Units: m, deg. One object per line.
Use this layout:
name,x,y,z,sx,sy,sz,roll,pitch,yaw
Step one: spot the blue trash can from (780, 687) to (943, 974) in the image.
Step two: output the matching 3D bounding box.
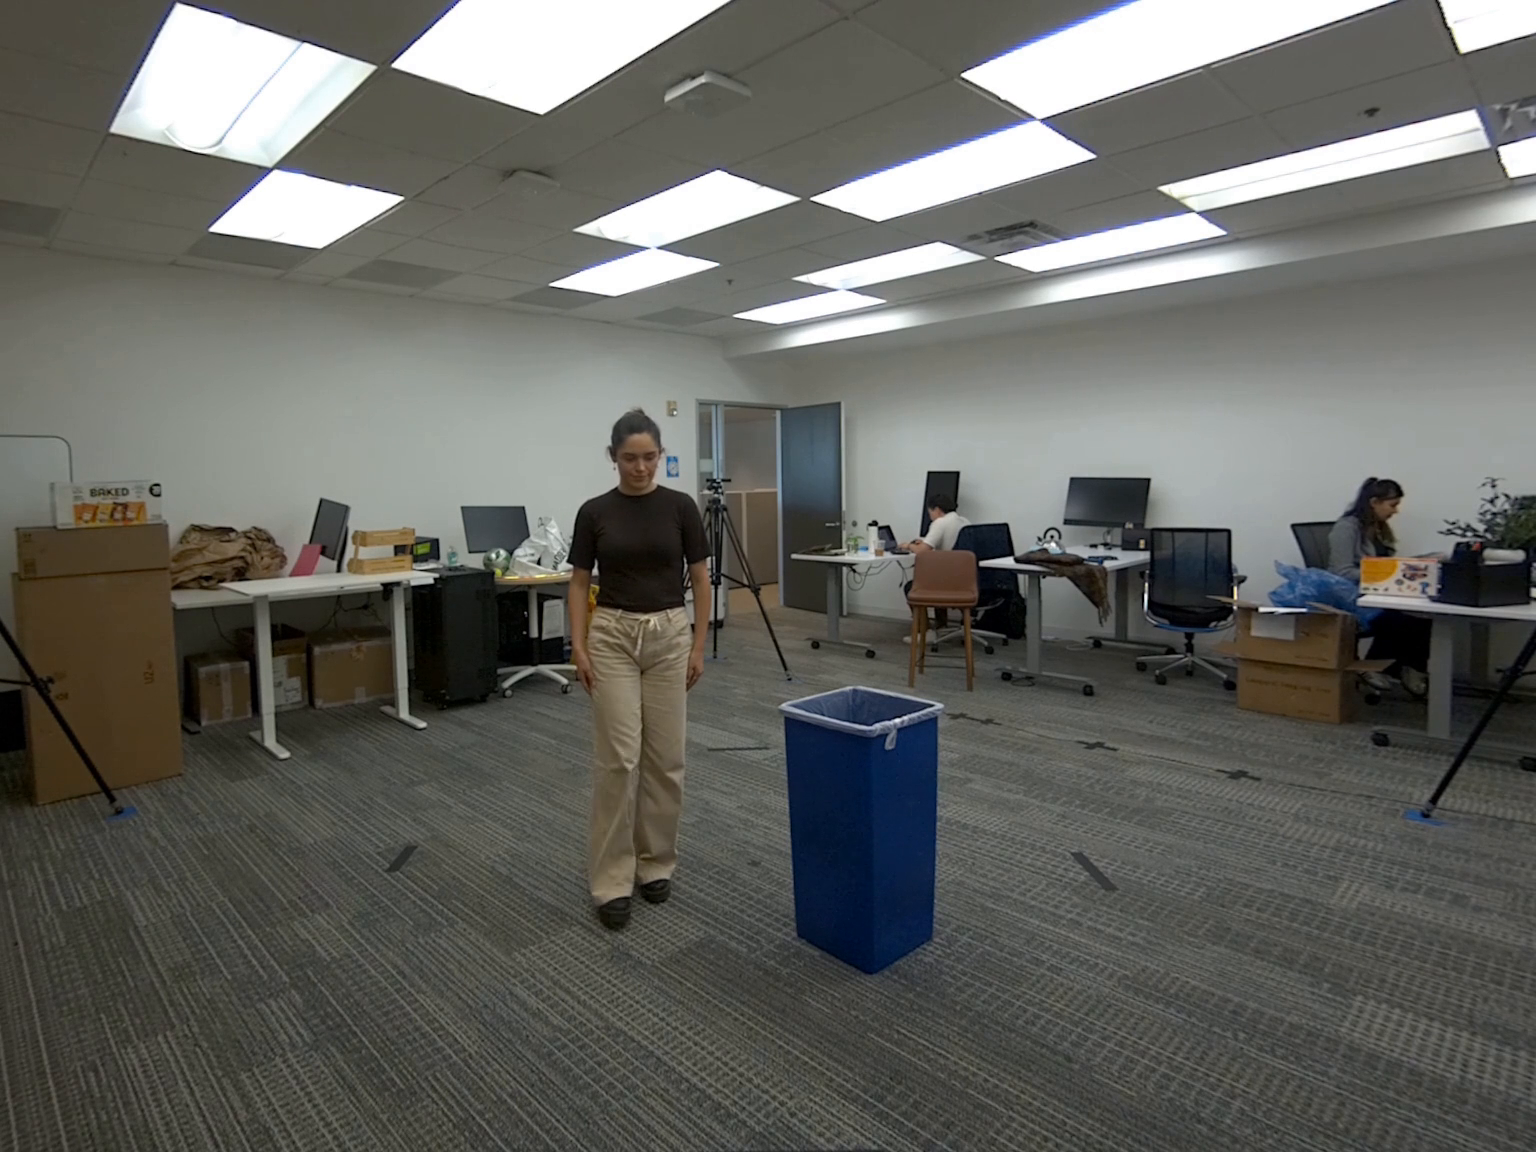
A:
blue trash can,0.291,0.740,2.582,0.364,0.711,0.389,-5,5,-42
